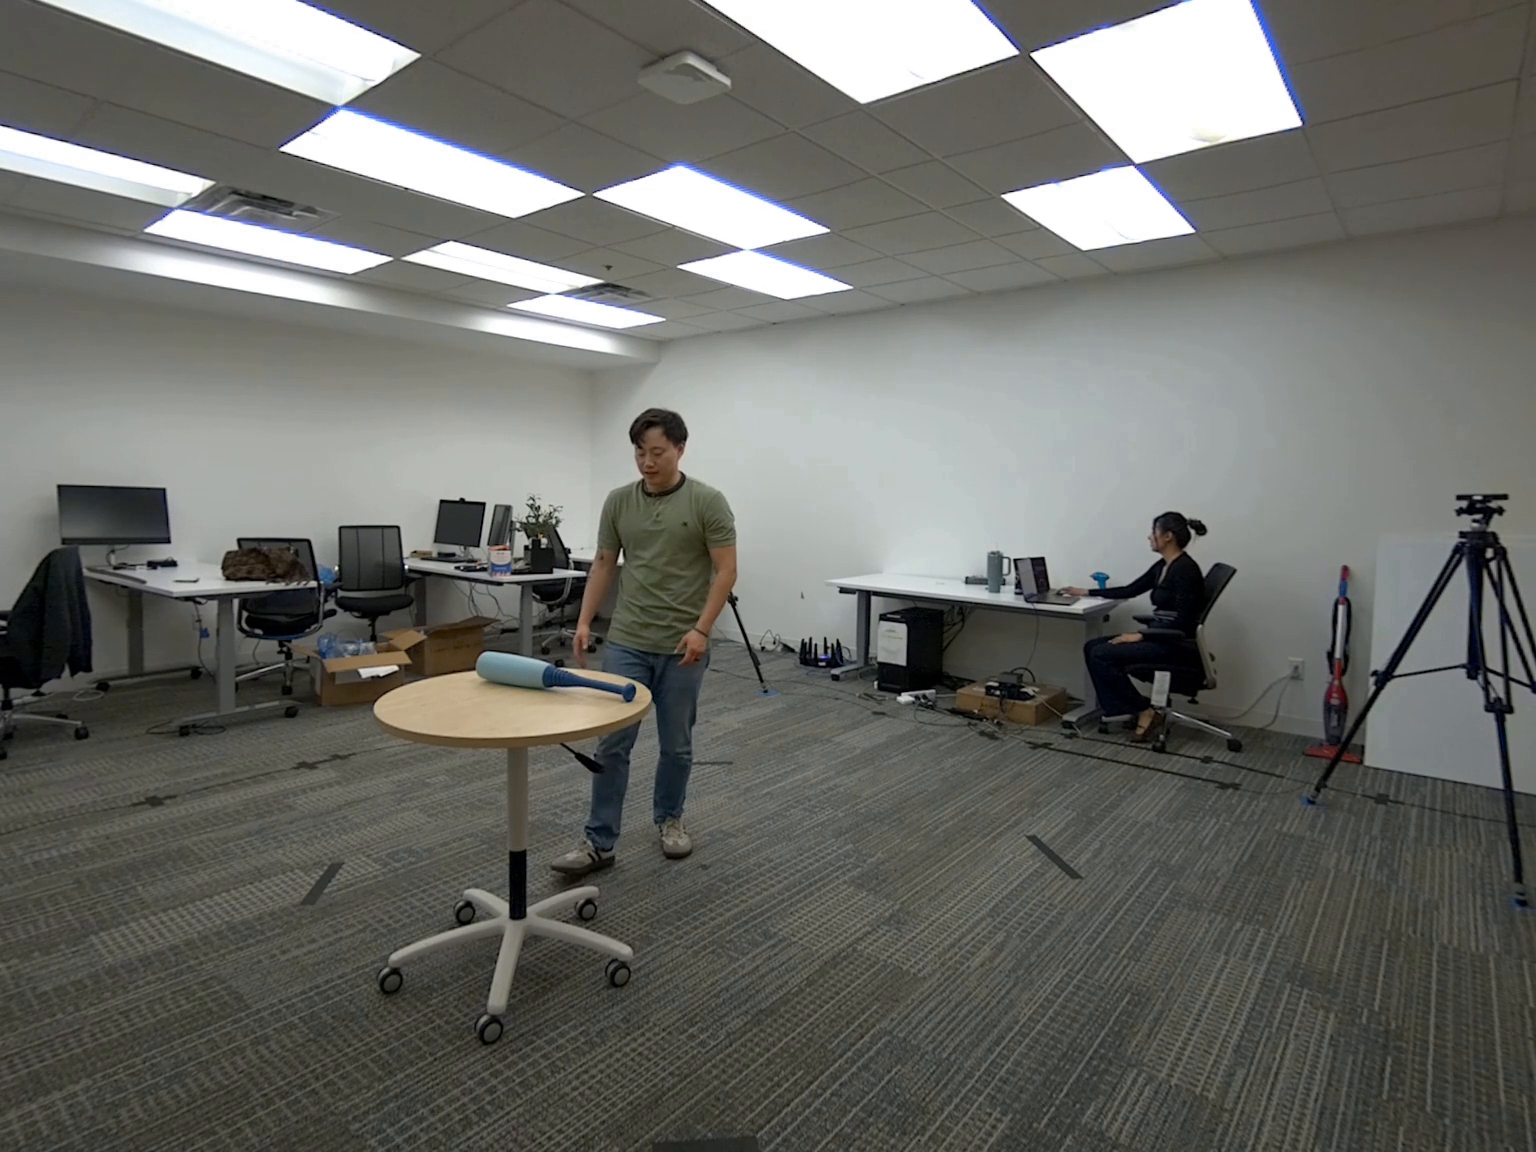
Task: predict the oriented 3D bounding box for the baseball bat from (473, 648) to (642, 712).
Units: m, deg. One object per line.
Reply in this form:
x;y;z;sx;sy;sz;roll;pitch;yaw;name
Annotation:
-0.637;0.303;2.503;0.557;0.089;0.087;6;6;25;baseball bat
